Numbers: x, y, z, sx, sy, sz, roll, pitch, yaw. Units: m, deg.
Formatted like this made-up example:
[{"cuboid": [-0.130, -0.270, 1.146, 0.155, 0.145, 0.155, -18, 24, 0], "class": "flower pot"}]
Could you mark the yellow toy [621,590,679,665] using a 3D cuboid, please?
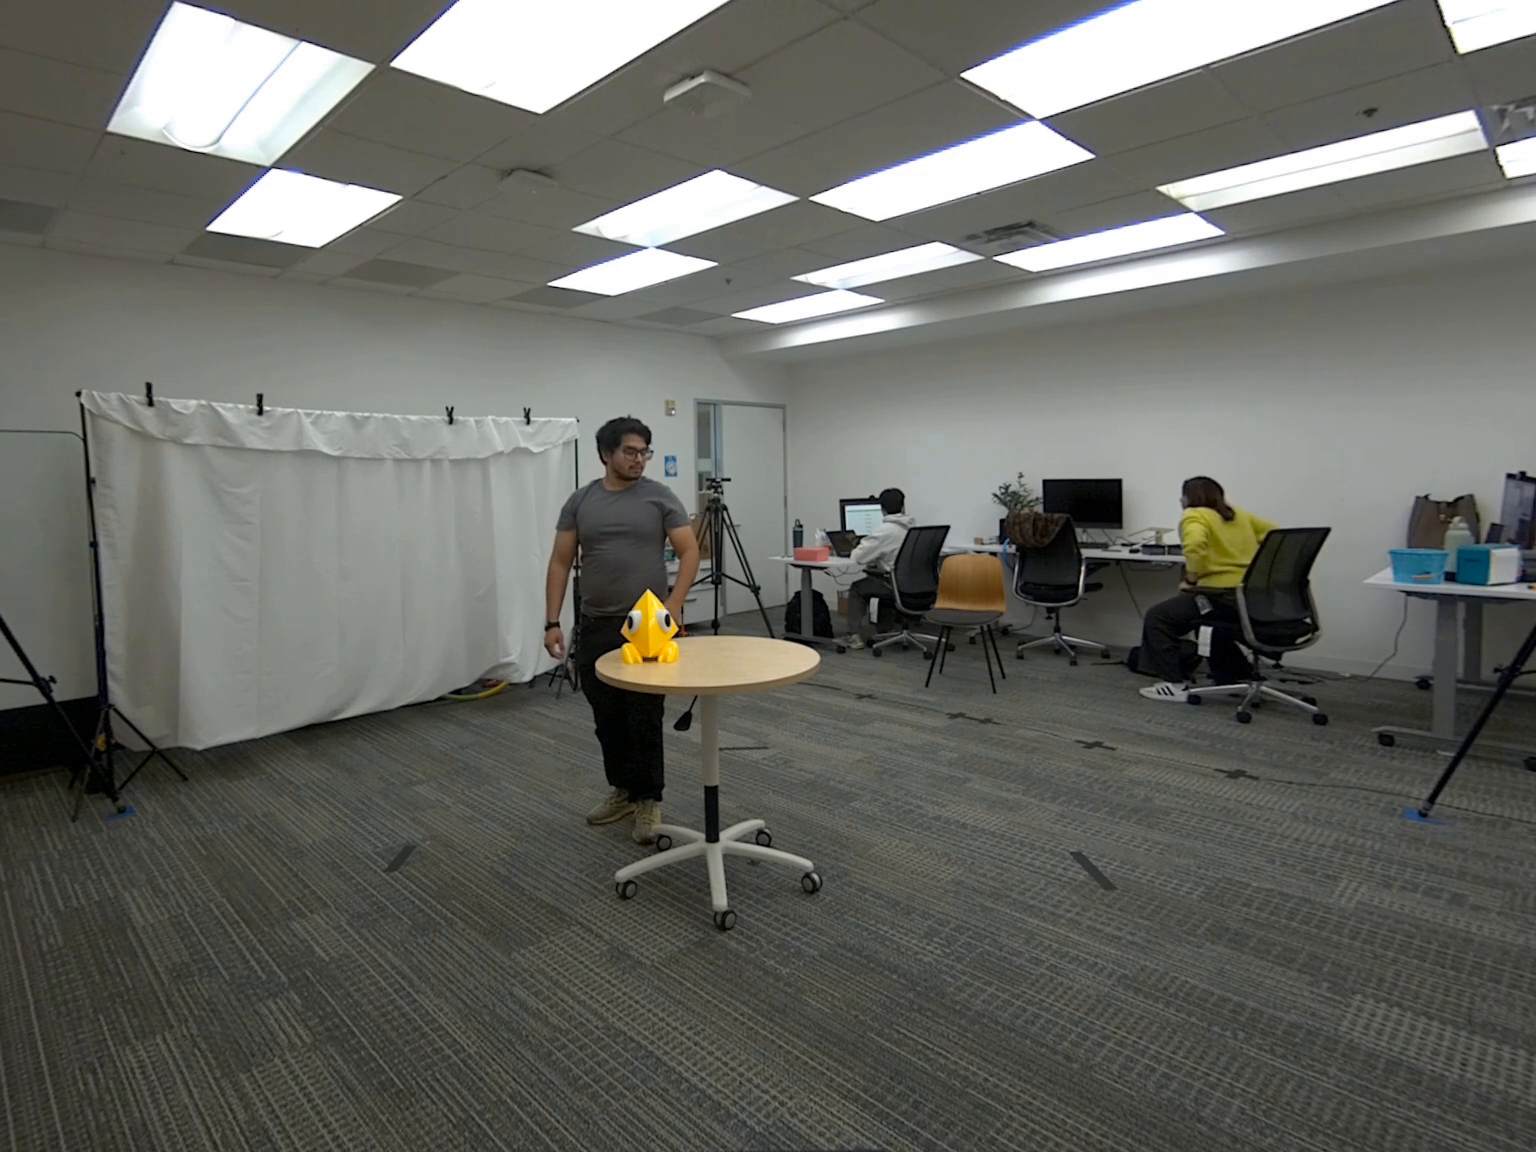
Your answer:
[{"cuboid": [-0.405, 0.172, 2.948, 0.204, 0.230, 0.195, -2, 5, -6], "class": "yellow toy"}]
